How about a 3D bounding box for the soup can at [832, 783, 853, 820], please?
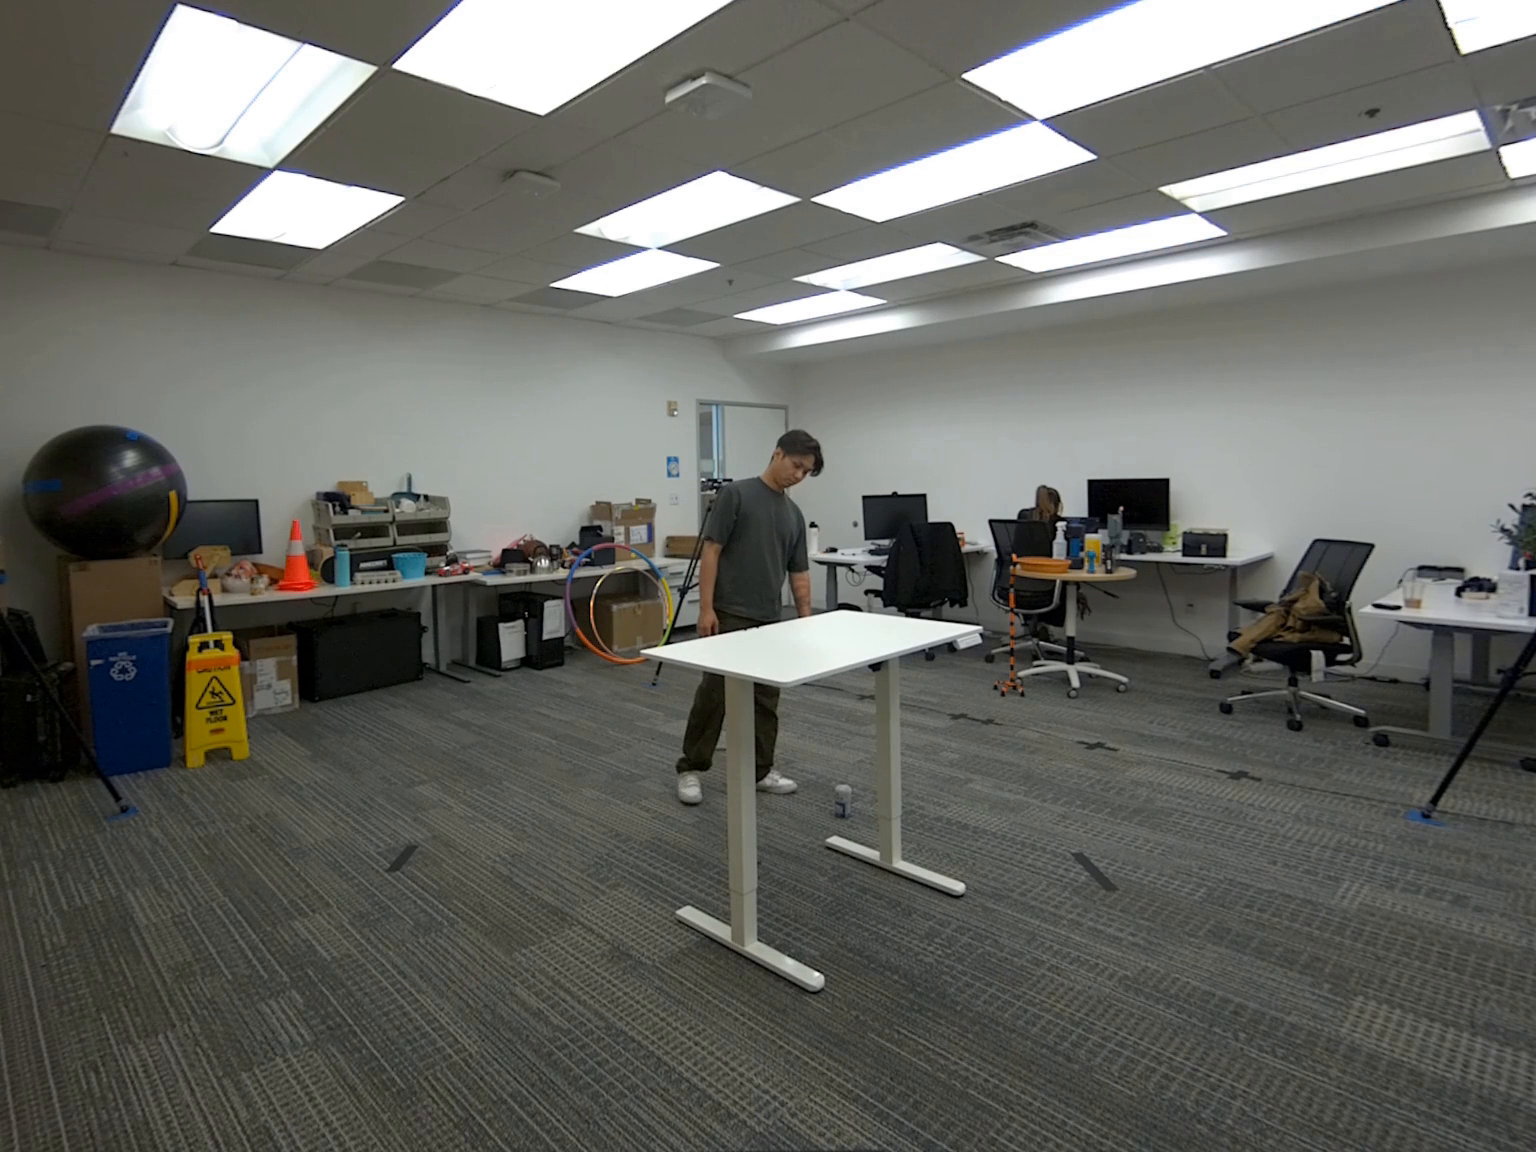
[{"bbox_3d":[0.318,0.933,3.529,0.067,0.121,0.067,1,3,-2],"label":"soup can"}]
